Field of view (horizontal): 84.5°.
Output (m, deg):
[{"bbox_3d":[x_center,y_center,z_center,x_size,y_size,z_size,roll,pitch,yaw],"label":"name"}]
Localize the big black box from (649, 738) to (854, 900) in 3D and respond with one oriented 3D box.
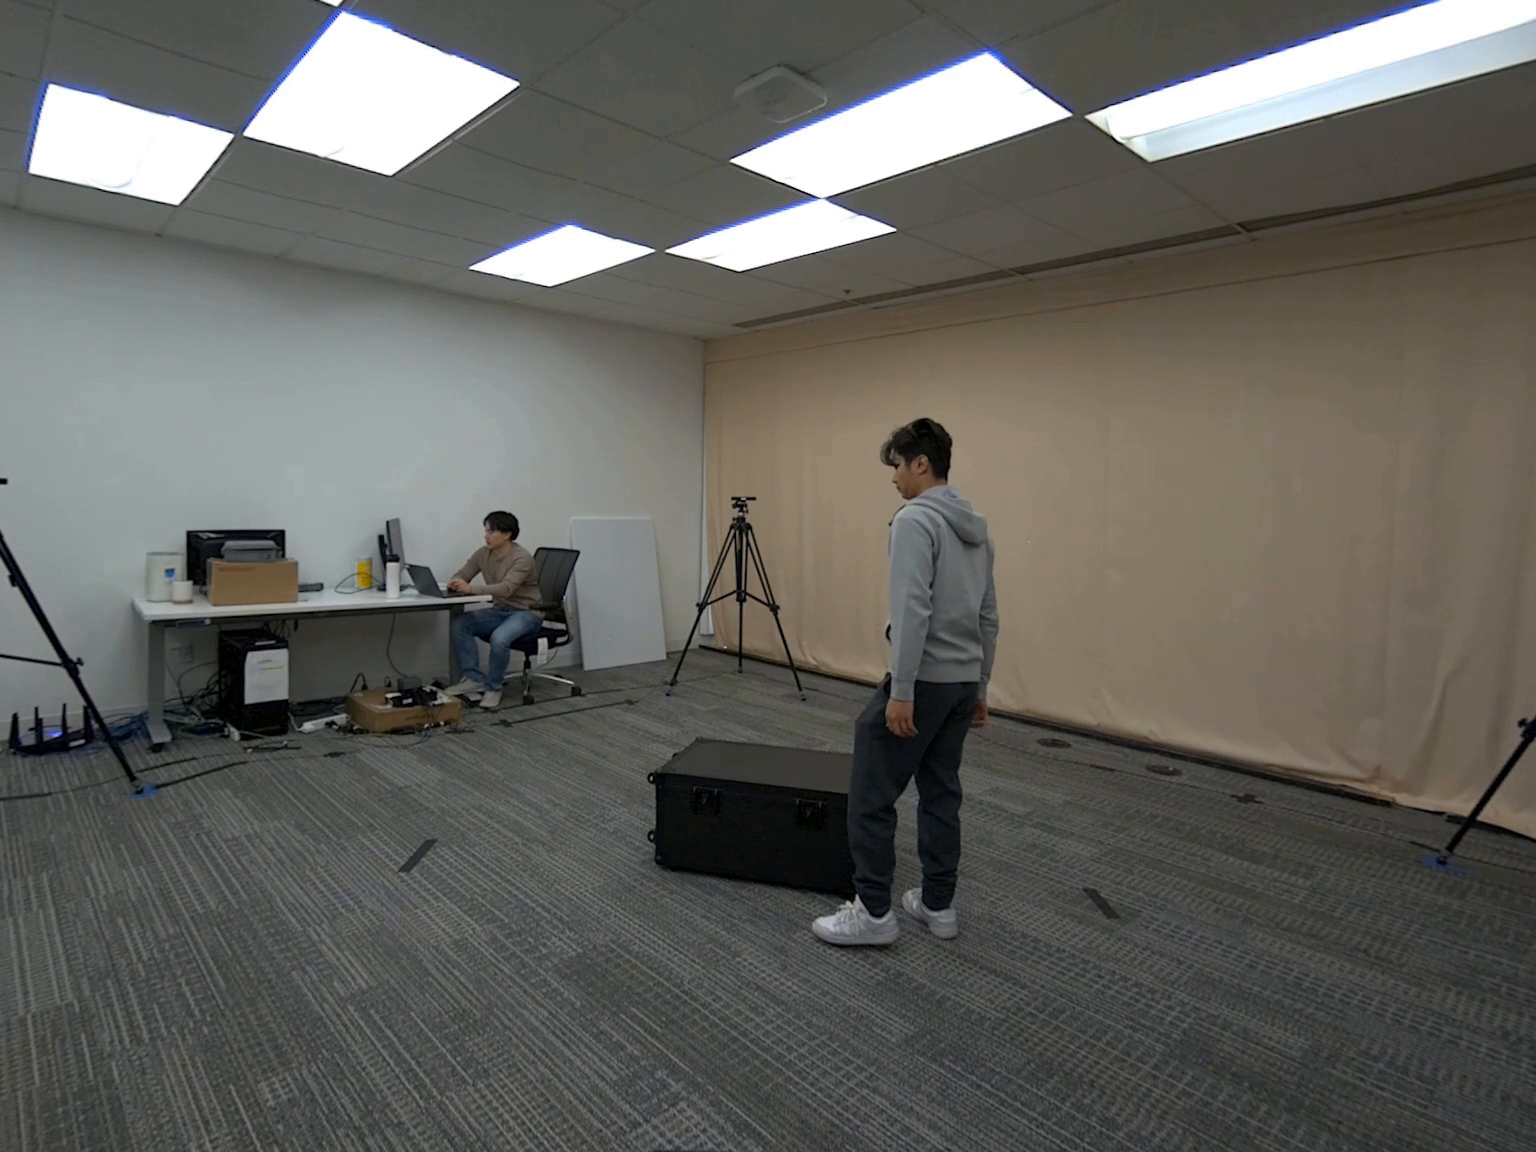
[{"bbox_3d":[-0.019,0.901,3.261,0.873,0.395,0.515,4,4,16],"label":"big black box"}]
